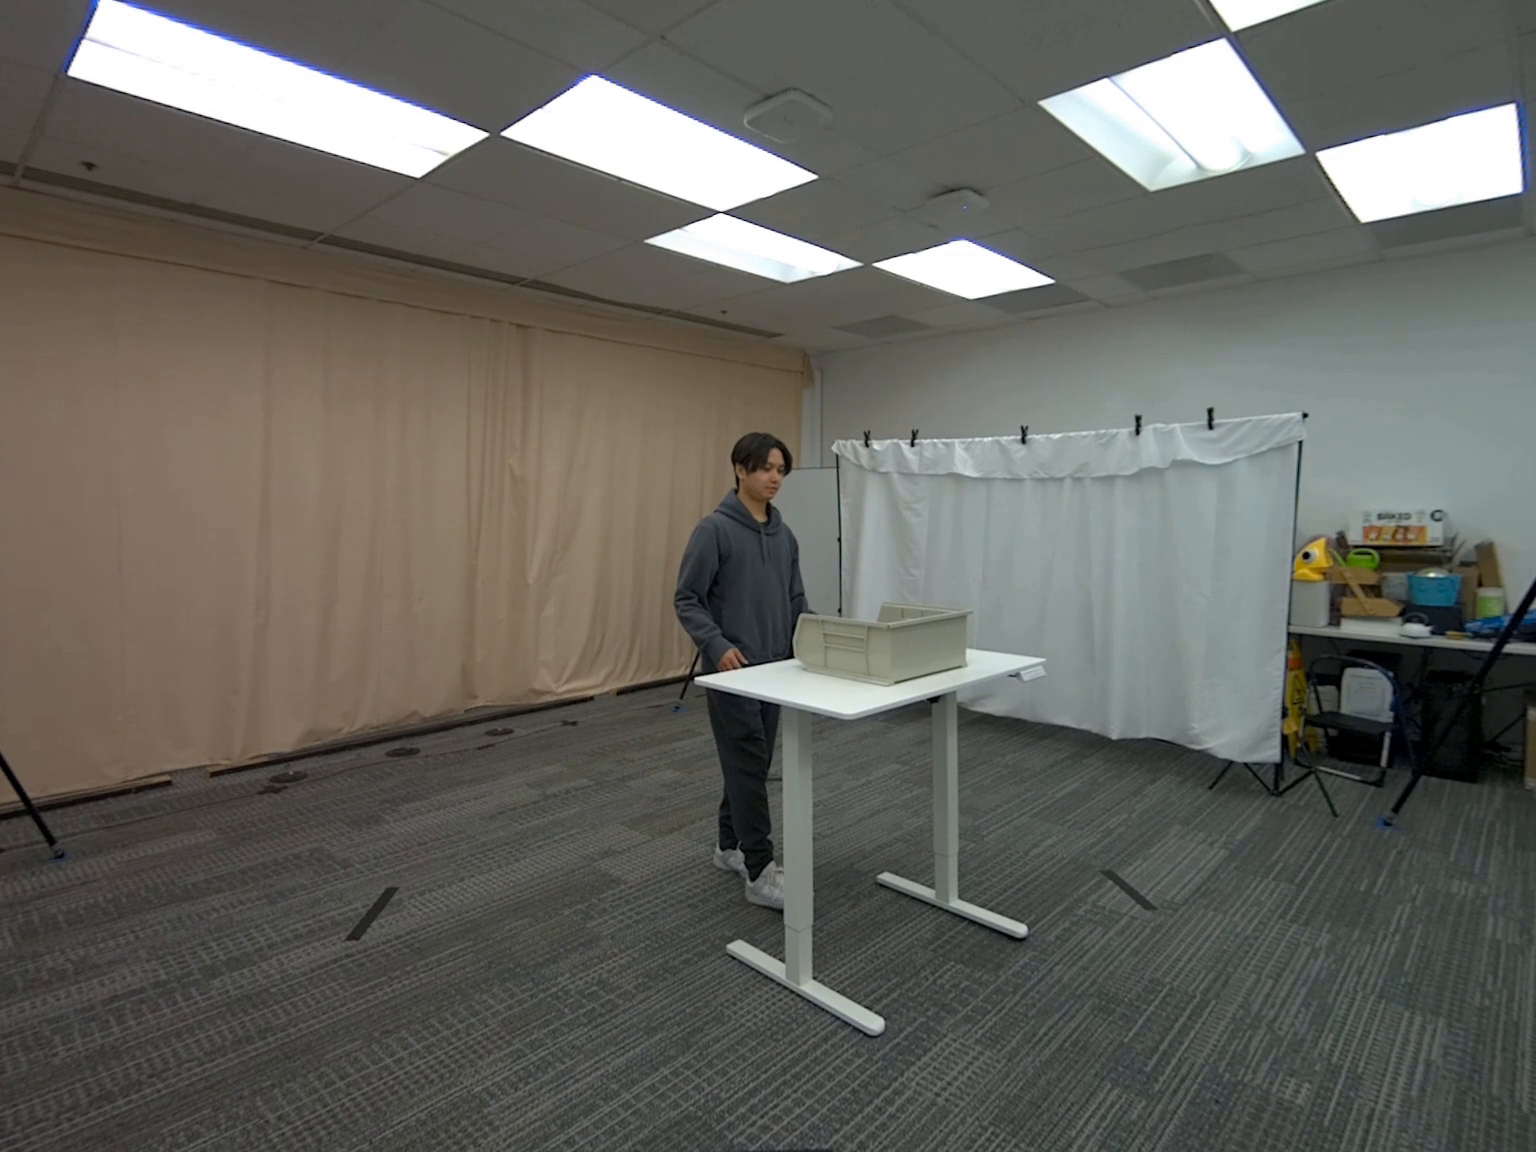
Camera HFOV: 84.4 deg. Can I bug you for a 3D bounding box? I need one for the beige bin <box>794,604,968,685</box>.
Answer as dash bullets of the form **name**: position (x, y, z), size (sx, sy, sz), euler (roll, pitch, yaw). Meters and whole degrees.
- **beige bin**: position (0.362, 0.203, 2.624), size (0.409, 0.188, 0.390), euler (-5, 7, -43)
